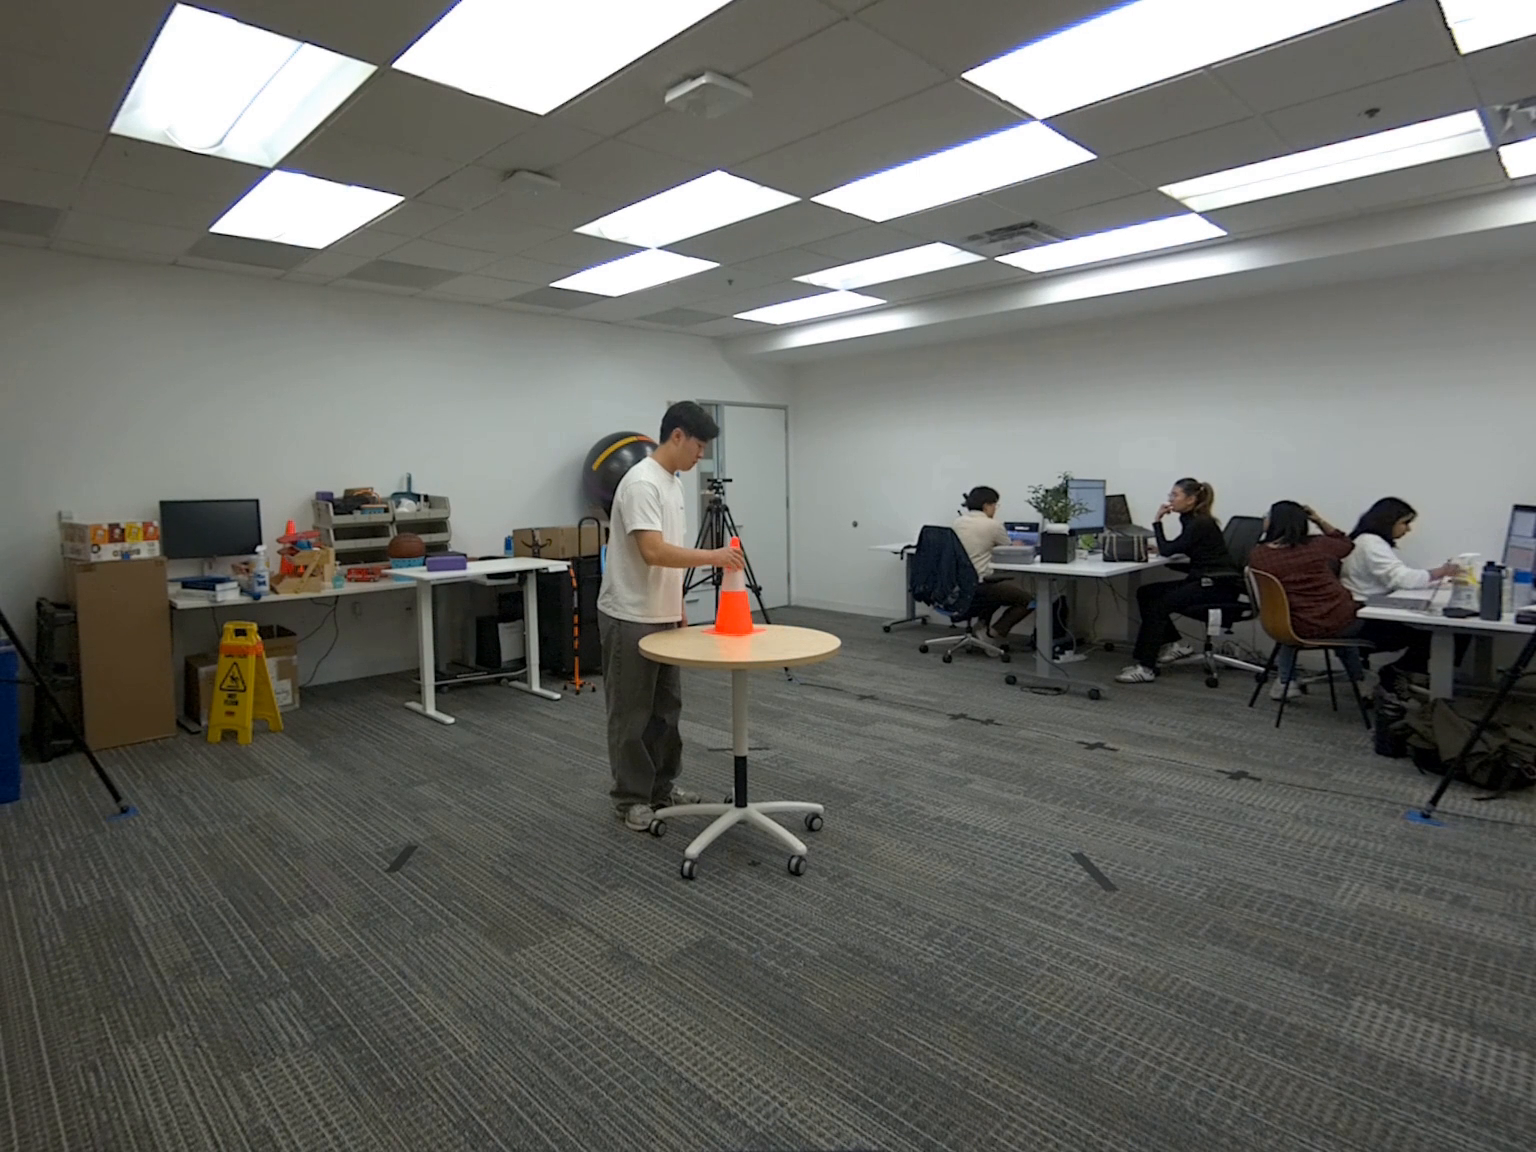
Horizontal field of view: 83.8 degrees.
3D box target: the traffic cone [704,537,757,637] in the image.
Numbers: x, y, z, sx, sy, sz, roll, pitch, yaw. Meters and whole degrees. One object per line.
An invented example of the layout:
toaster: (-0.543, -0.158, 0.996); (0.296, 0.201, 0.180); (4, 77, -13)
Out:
traffic cone: (-0.138, 0.030, 3.442); (0.209, 0.382, 0.200); (3, 5, 30)
